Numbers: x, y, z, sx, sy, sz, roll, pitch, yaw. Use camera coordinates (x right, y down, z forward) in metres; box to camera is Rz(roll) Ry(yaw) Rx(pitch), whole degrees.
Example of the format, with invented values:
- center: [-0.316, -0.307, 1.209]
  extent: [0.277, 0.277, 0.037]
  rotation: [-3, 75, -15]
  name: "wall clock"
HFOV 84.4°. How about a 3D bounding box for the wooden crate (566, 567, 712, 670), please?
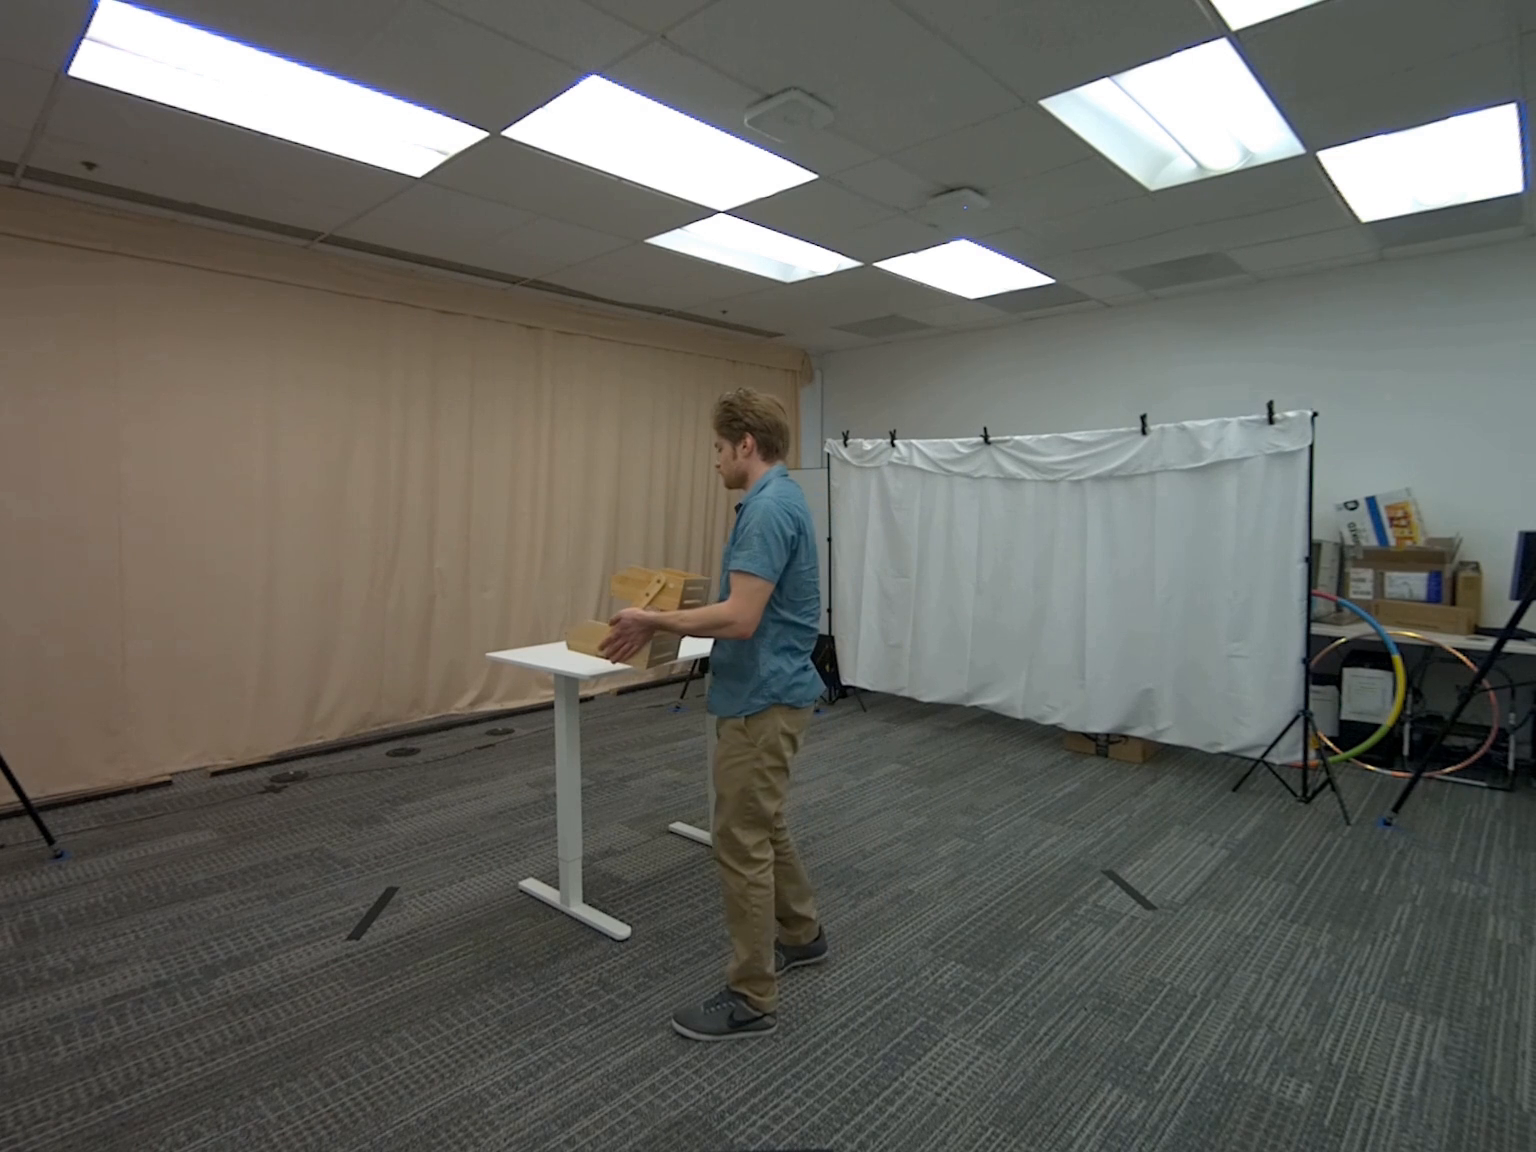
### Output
- center: [-0.352, 0.102, 2.384]
  extent: [0.307, 0.273, 0.320]
  rotation: [14, 2, 12]
  name: "wooden crate"
